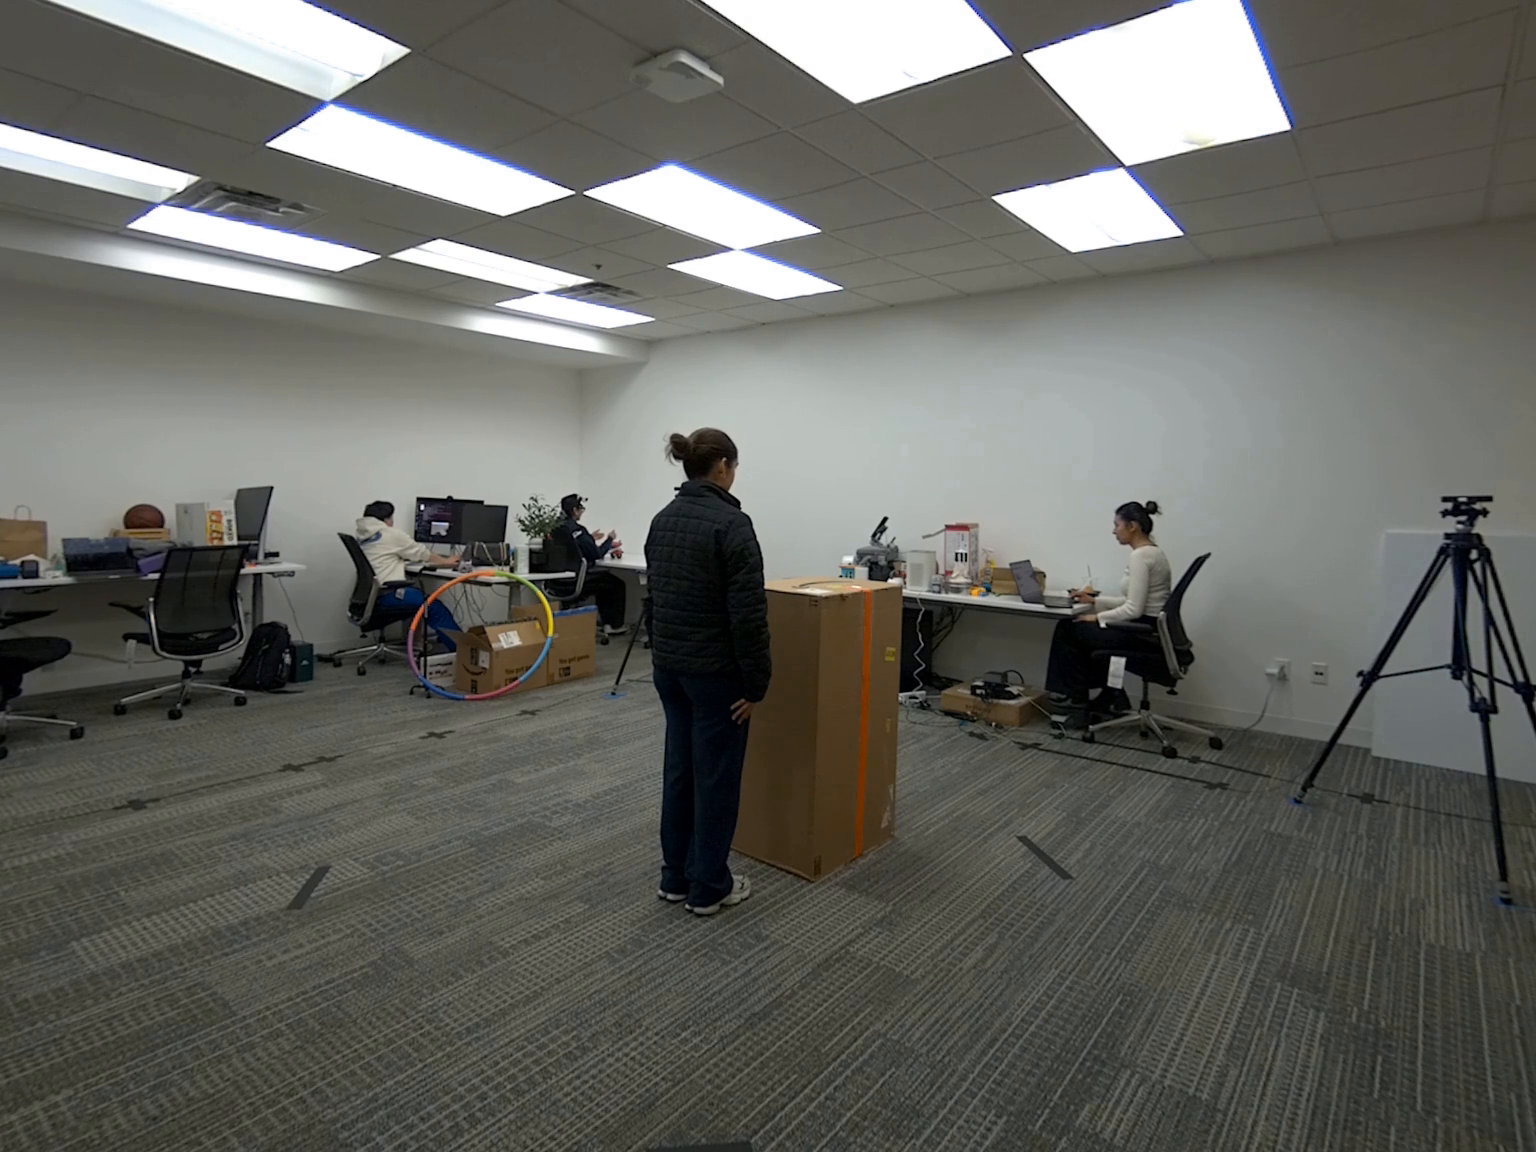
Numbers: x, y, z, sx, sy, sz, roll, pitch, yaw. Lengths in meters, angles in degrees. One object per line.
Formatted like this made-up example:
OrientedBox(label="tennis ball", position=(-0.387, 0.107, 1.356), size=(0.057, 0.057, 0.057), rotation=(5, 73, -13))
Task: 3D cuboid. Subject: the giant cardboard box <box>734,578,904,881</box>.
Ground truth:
OrientedBox(label="giant cardboard box", position=(0.208, 0.540, 3.352), size=(0.440, 1.023, 0.560), rotation=(4, 4, 40))
